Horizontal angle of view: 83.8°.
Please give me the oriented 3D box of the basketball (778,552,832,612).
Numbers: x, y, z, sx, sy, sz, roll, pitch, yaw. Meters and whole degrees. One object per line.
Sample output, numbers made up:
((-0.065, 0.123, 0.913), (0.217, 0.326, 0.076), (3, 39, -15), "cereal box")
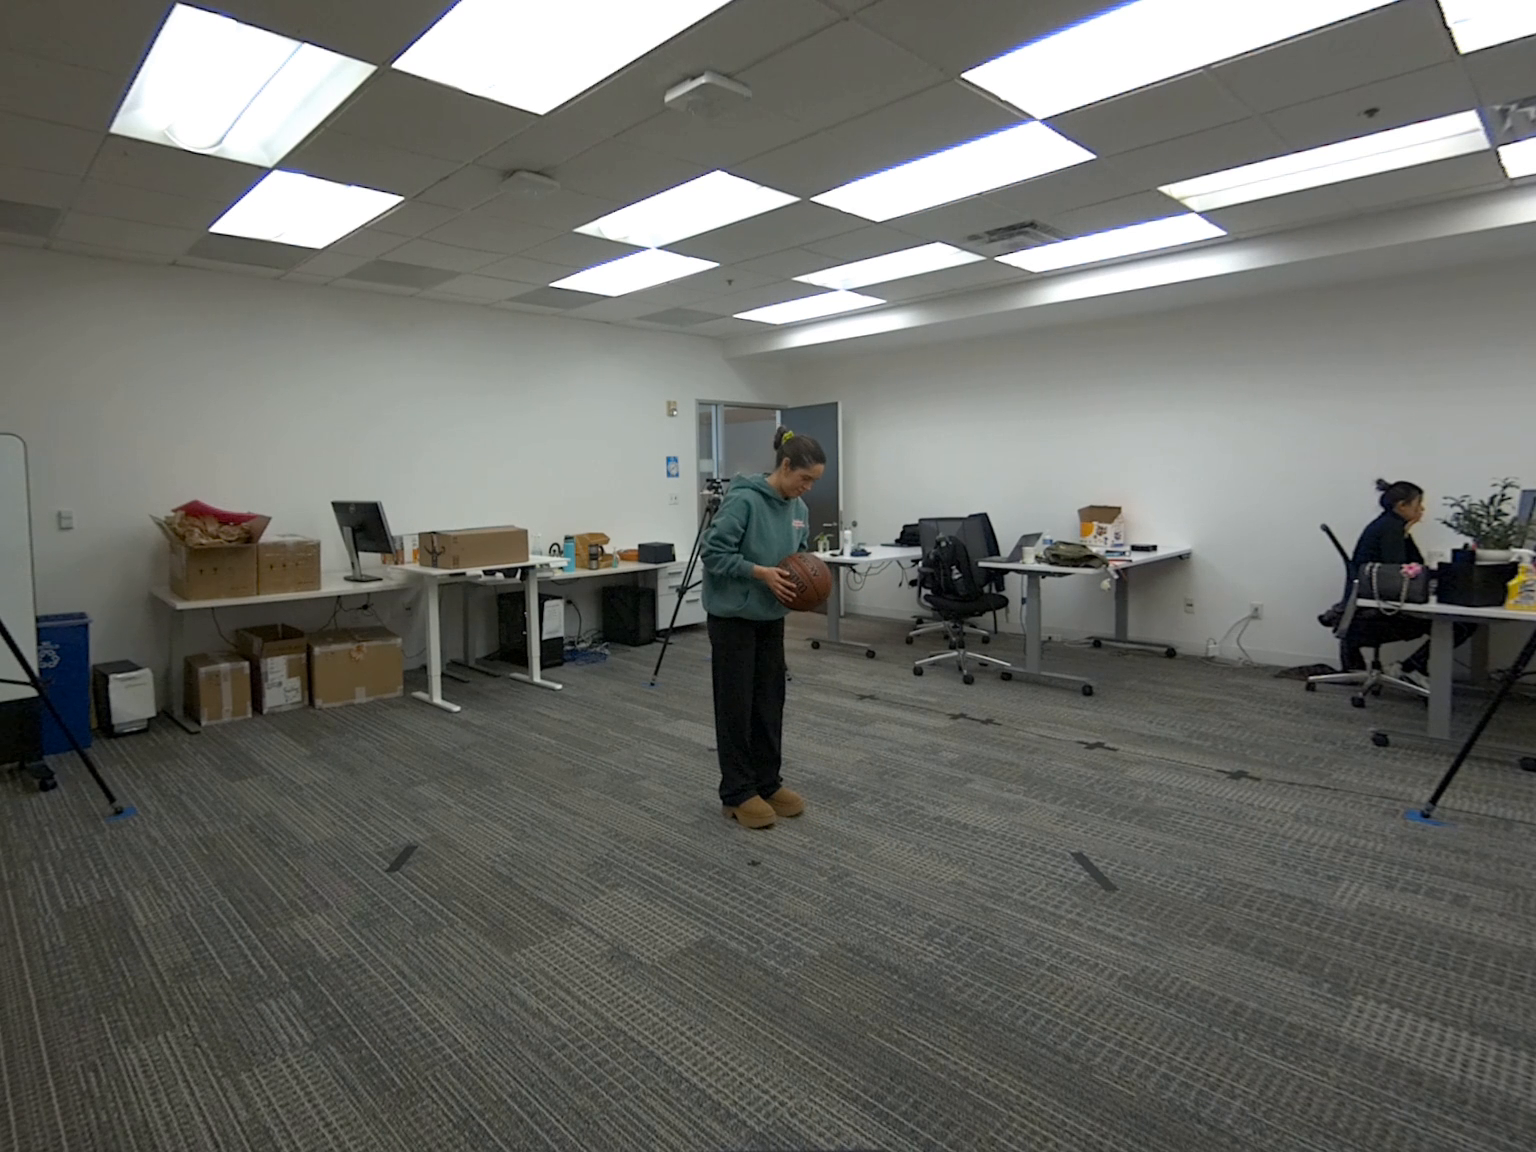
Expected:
((0.129, 0.027, 3.369), (0.236, 0.235, 0.237), (-1, 5, -2), "basketball")
